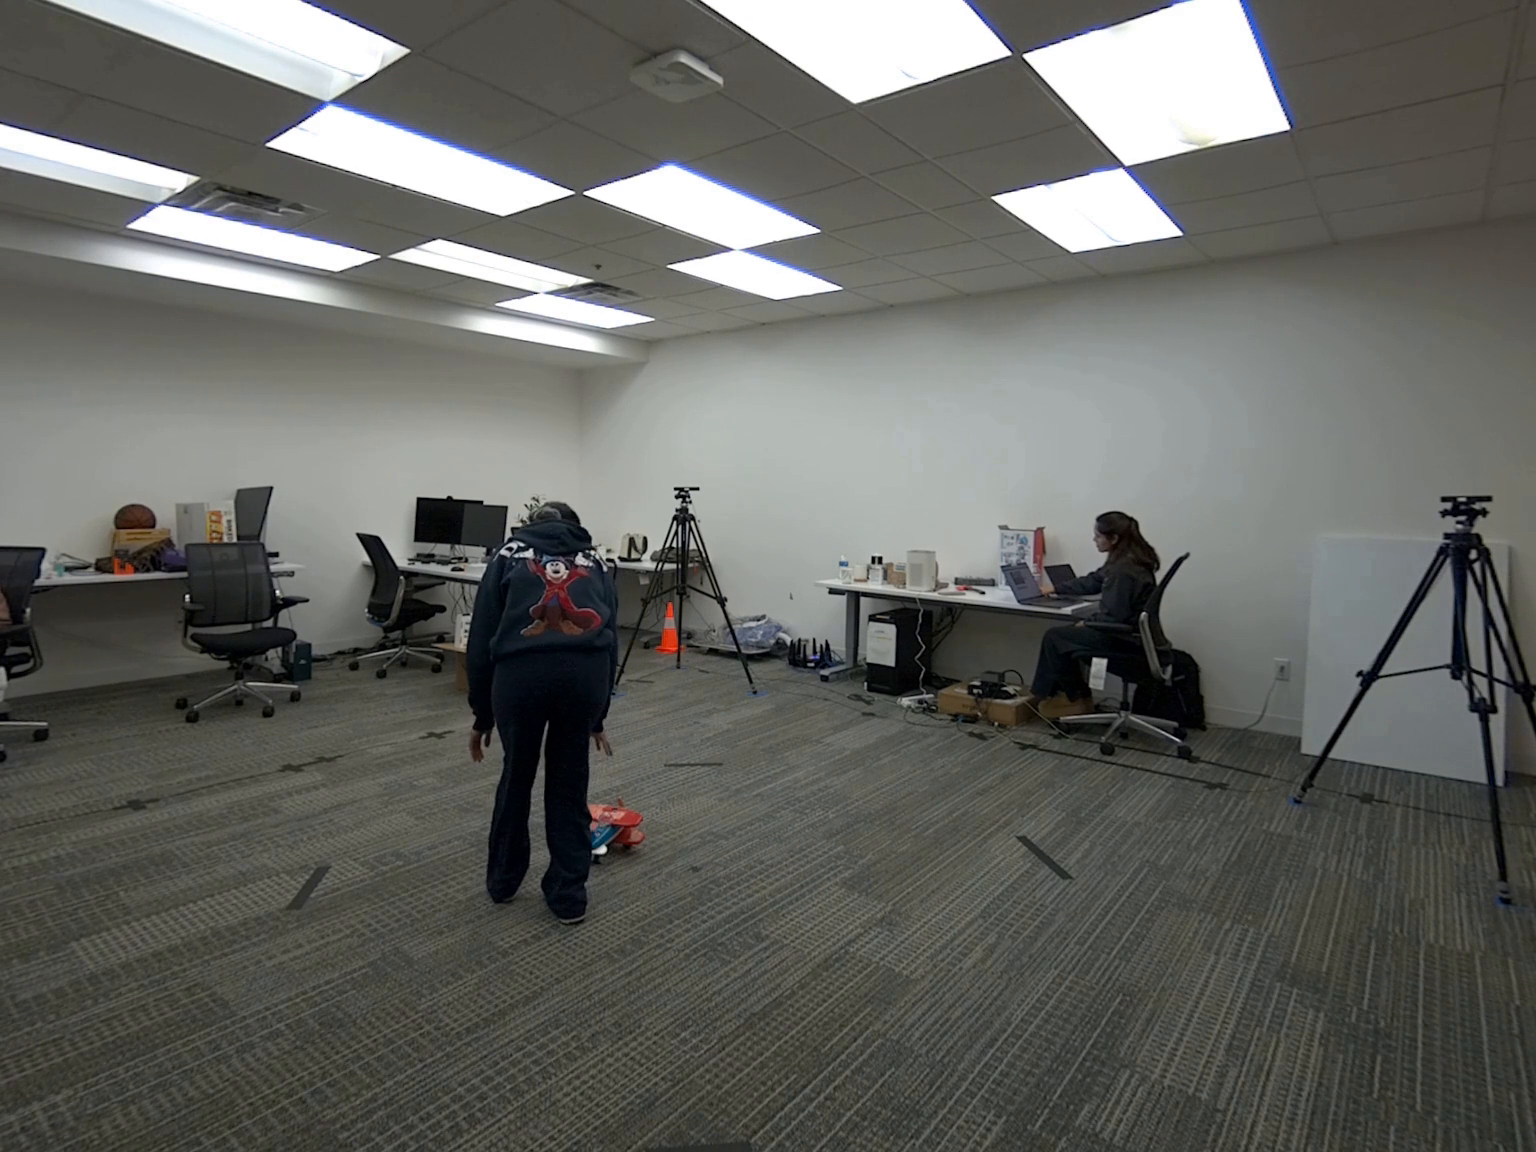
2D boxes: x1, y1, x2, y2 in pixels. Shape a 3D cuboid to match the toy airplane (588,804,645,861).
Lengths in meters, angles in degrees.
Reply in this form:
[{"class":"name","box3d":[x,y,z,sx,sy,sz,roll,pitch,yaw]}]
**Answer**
[{"class":"toy airplane","box3d":[-0.601,0.976,3.224,0.249,0.156,0.262,-1,4,-8]}]
